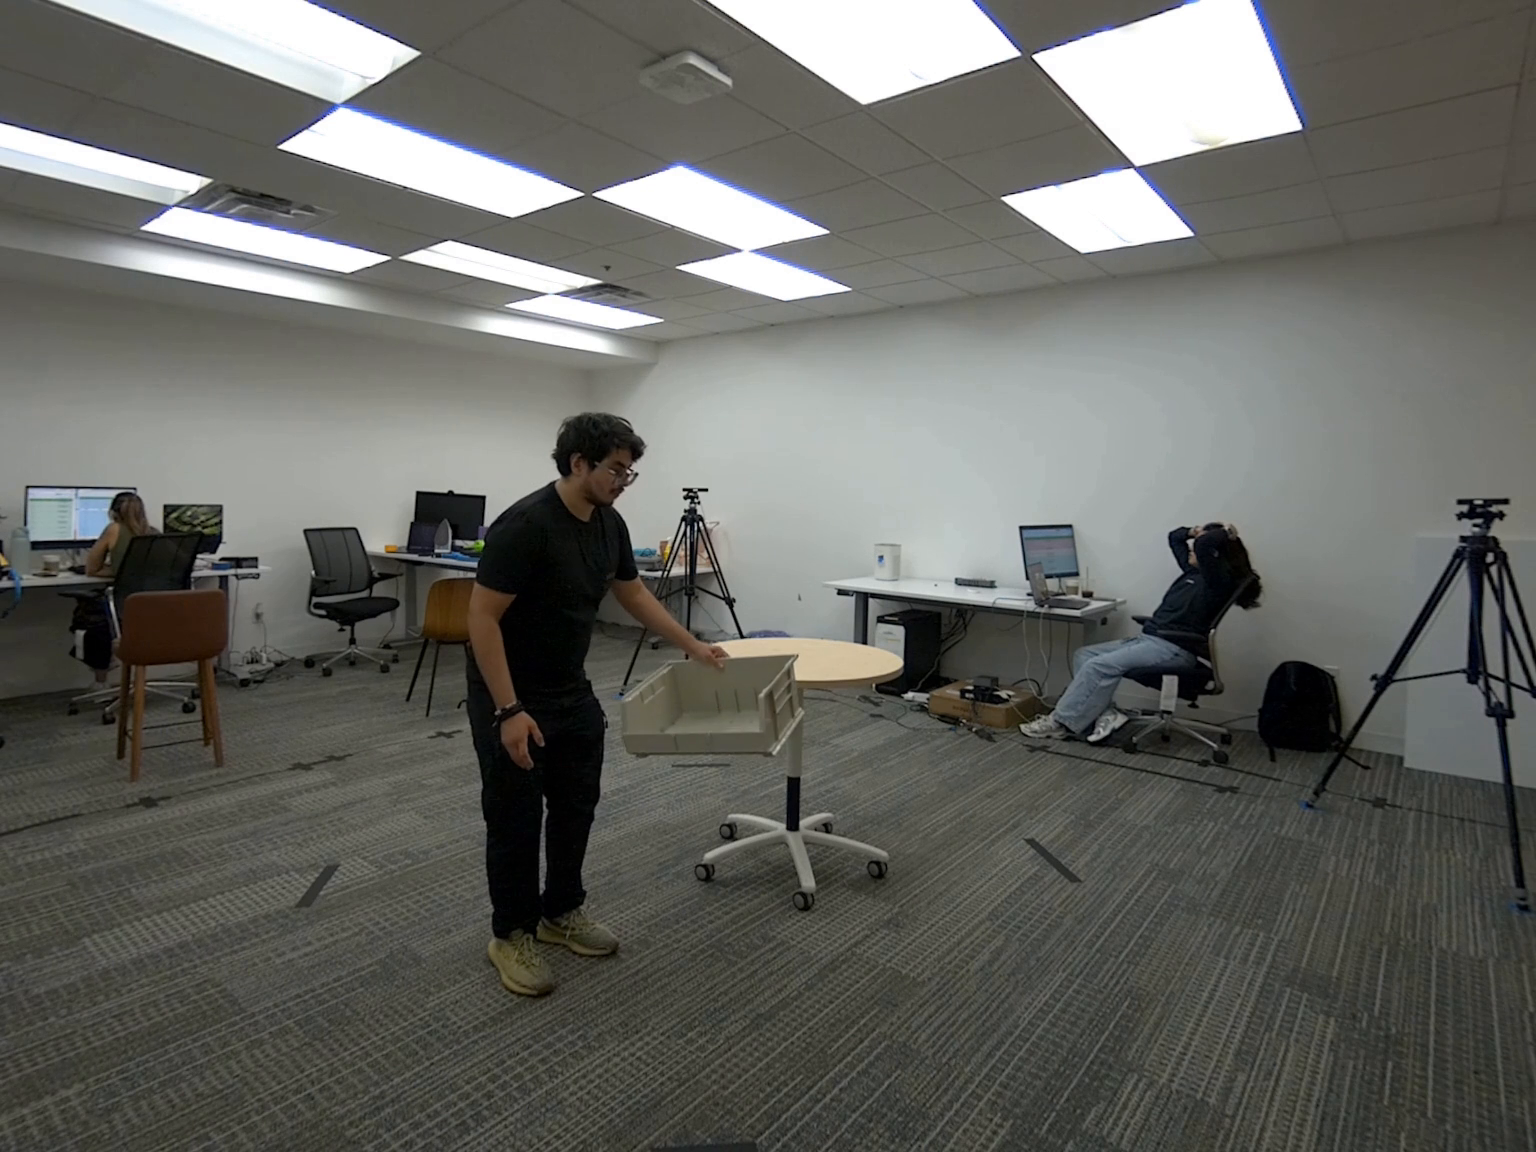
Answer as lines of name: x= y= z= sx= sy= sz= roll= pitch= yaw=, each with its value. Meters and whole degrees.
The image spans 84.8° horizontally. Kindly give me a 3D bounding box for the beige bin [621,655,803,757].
beige bin: x=-0.162 y=0.383 z=2.423 sx=0.430 sy=0.187 sz=0.373 roll=-6 pitch=9 yaw=20
